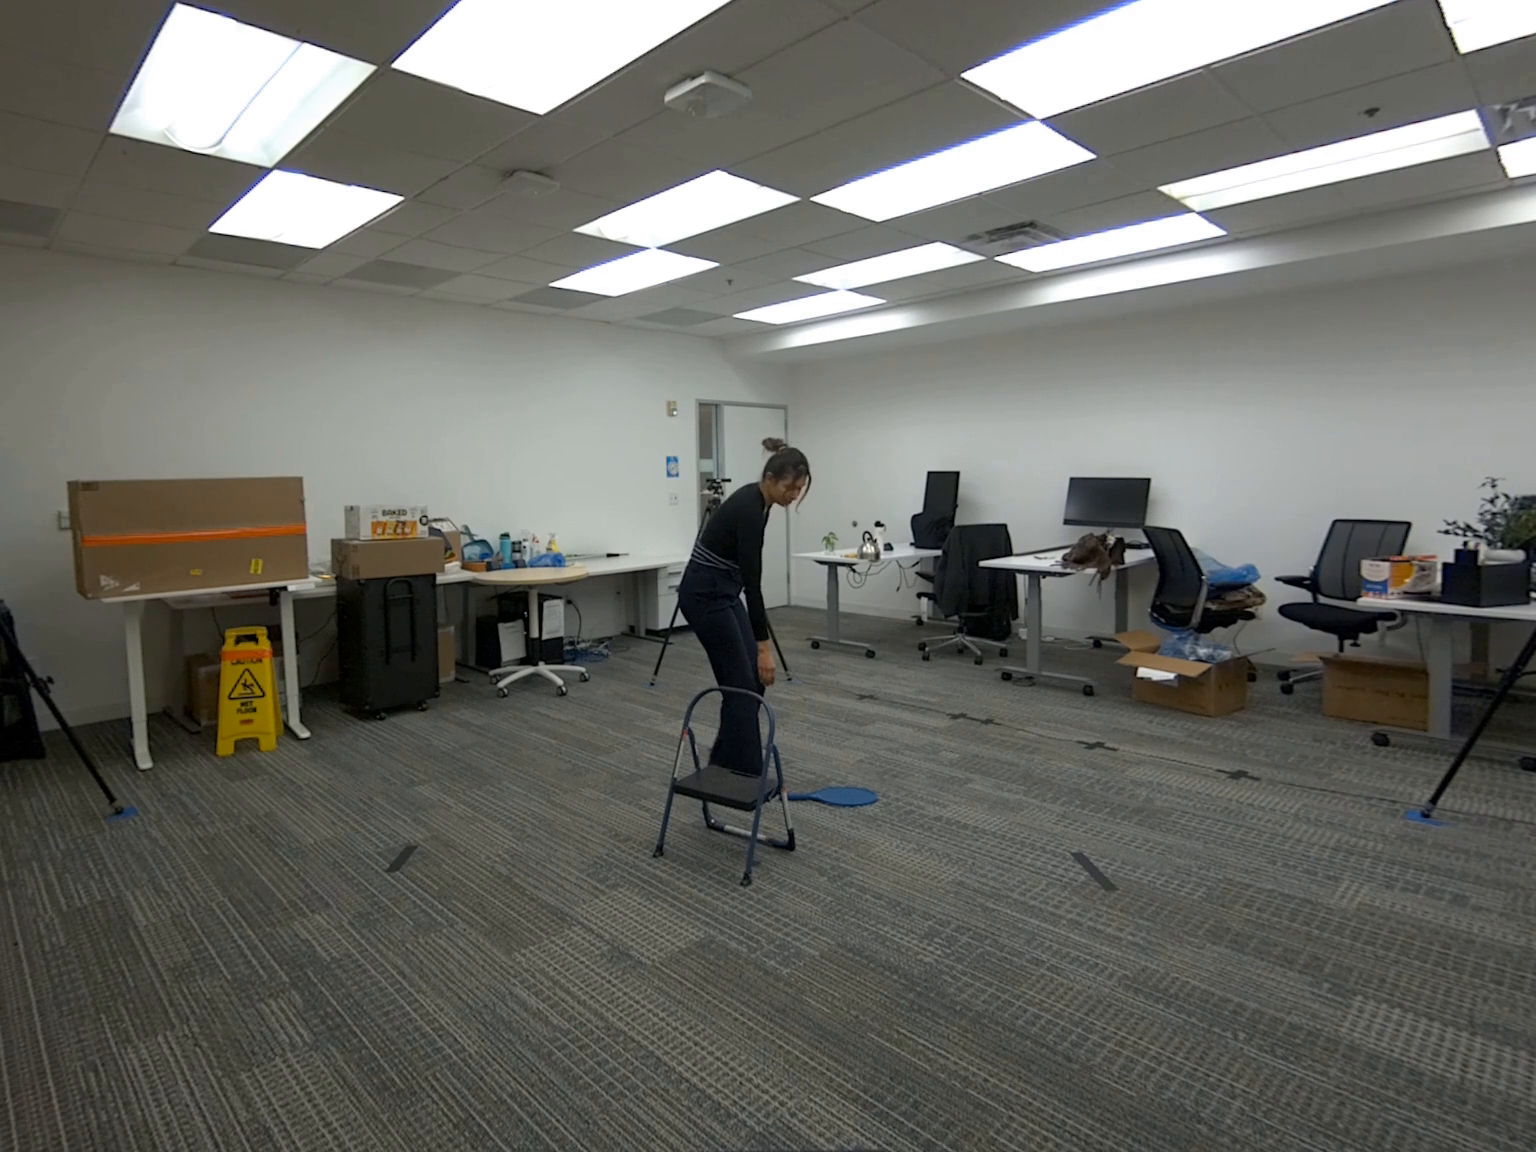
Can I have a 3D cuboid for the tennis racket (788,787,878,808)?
[{"bbox_3d":[0.262,0.954,3.714,0.430,0.031,0.216,0,7,-6],"label":"tennis racket"}]
